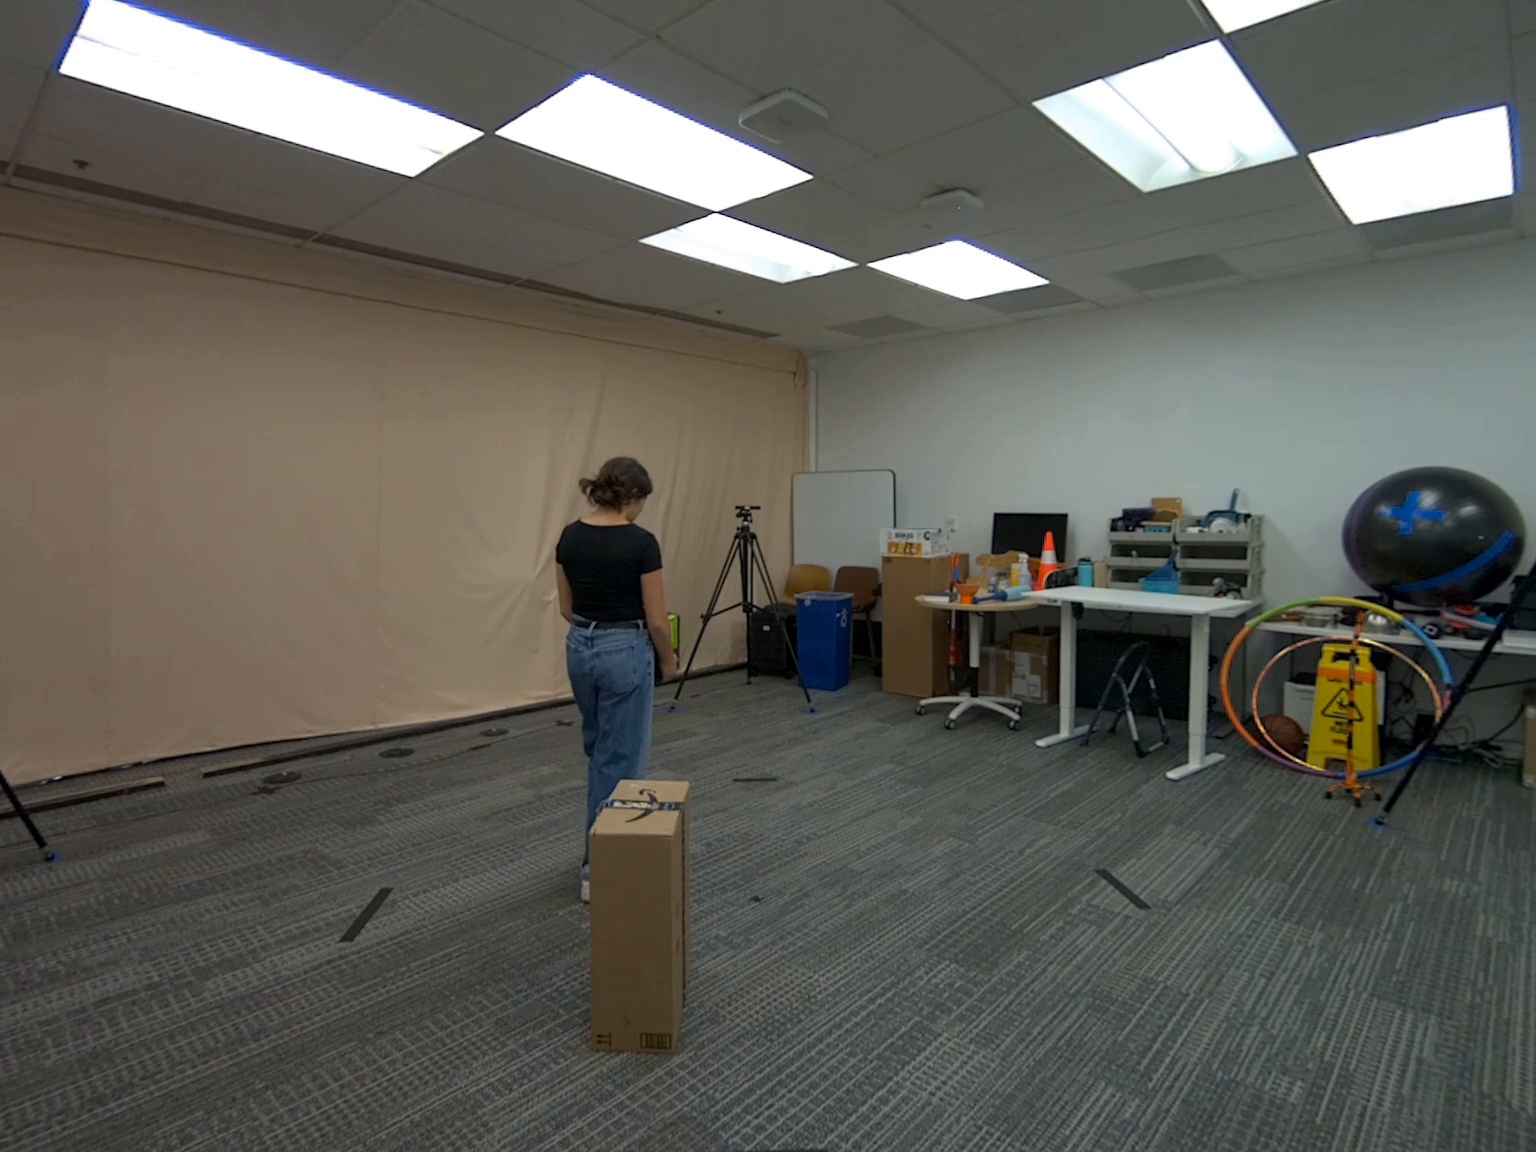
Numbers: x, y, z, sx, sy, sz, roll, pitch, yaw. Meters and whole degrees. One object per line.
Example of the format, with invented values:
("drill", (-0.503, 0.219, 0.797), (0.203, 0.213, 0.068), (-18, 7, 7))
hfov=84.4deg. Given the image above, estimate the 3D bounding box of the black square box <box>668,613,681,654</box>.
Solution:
("black square box", (-0.472, 0.259, 3.252), (0.223, 0.226, 0.153), (8, 11, 24))
